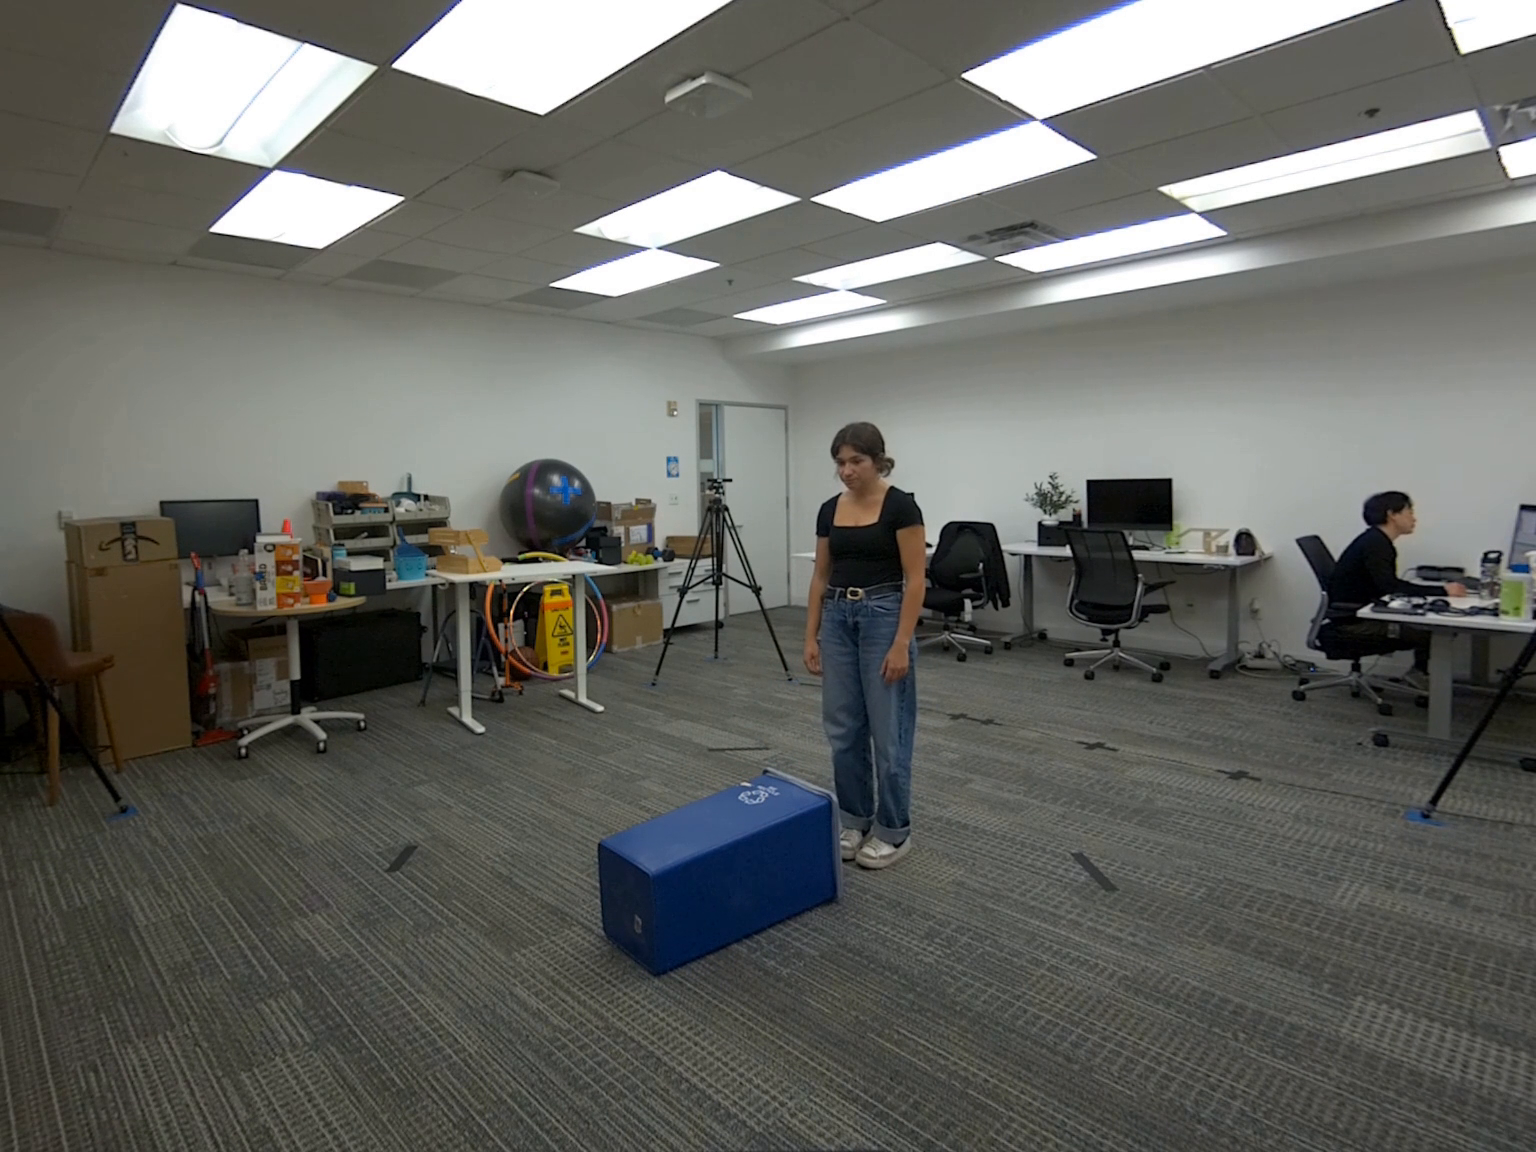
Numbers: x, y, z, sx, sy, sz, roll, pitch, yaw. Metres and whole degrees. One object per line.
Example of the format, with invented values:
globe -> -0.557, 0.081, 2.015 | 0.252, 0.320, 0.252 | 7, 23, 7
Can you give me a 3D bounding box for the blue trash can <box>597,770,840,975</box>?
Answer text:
blue trash can -> -0.144, 0.927, 2.713 | 0.696, 0.375, 0.386 | -10, 10, -39
